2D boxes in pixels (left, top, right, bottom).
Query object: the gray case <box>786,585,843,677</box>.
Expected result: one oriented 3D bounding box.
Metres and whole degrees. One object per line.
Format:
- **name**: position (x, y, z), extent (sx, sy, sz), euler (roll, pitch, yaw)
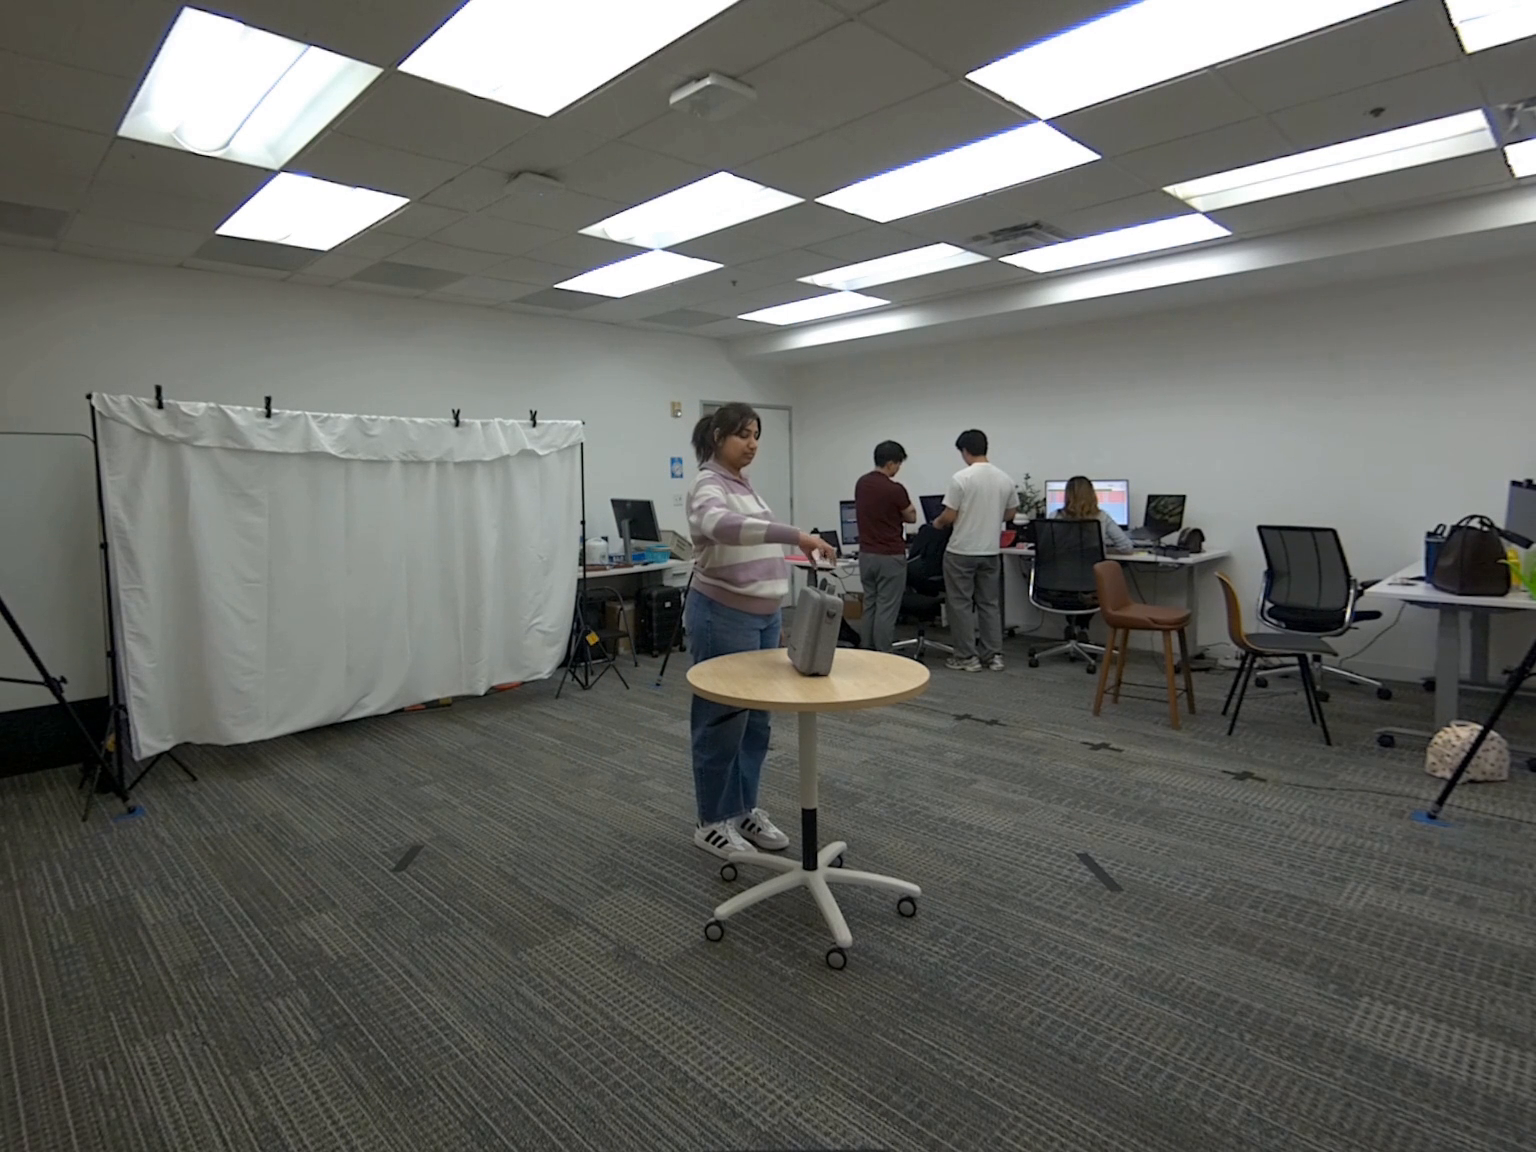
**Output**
- **gray case**: position (0.151, 0.174, 2.740), extent (0.104, 0.259, 0.260), euler (7, 8, -7)
